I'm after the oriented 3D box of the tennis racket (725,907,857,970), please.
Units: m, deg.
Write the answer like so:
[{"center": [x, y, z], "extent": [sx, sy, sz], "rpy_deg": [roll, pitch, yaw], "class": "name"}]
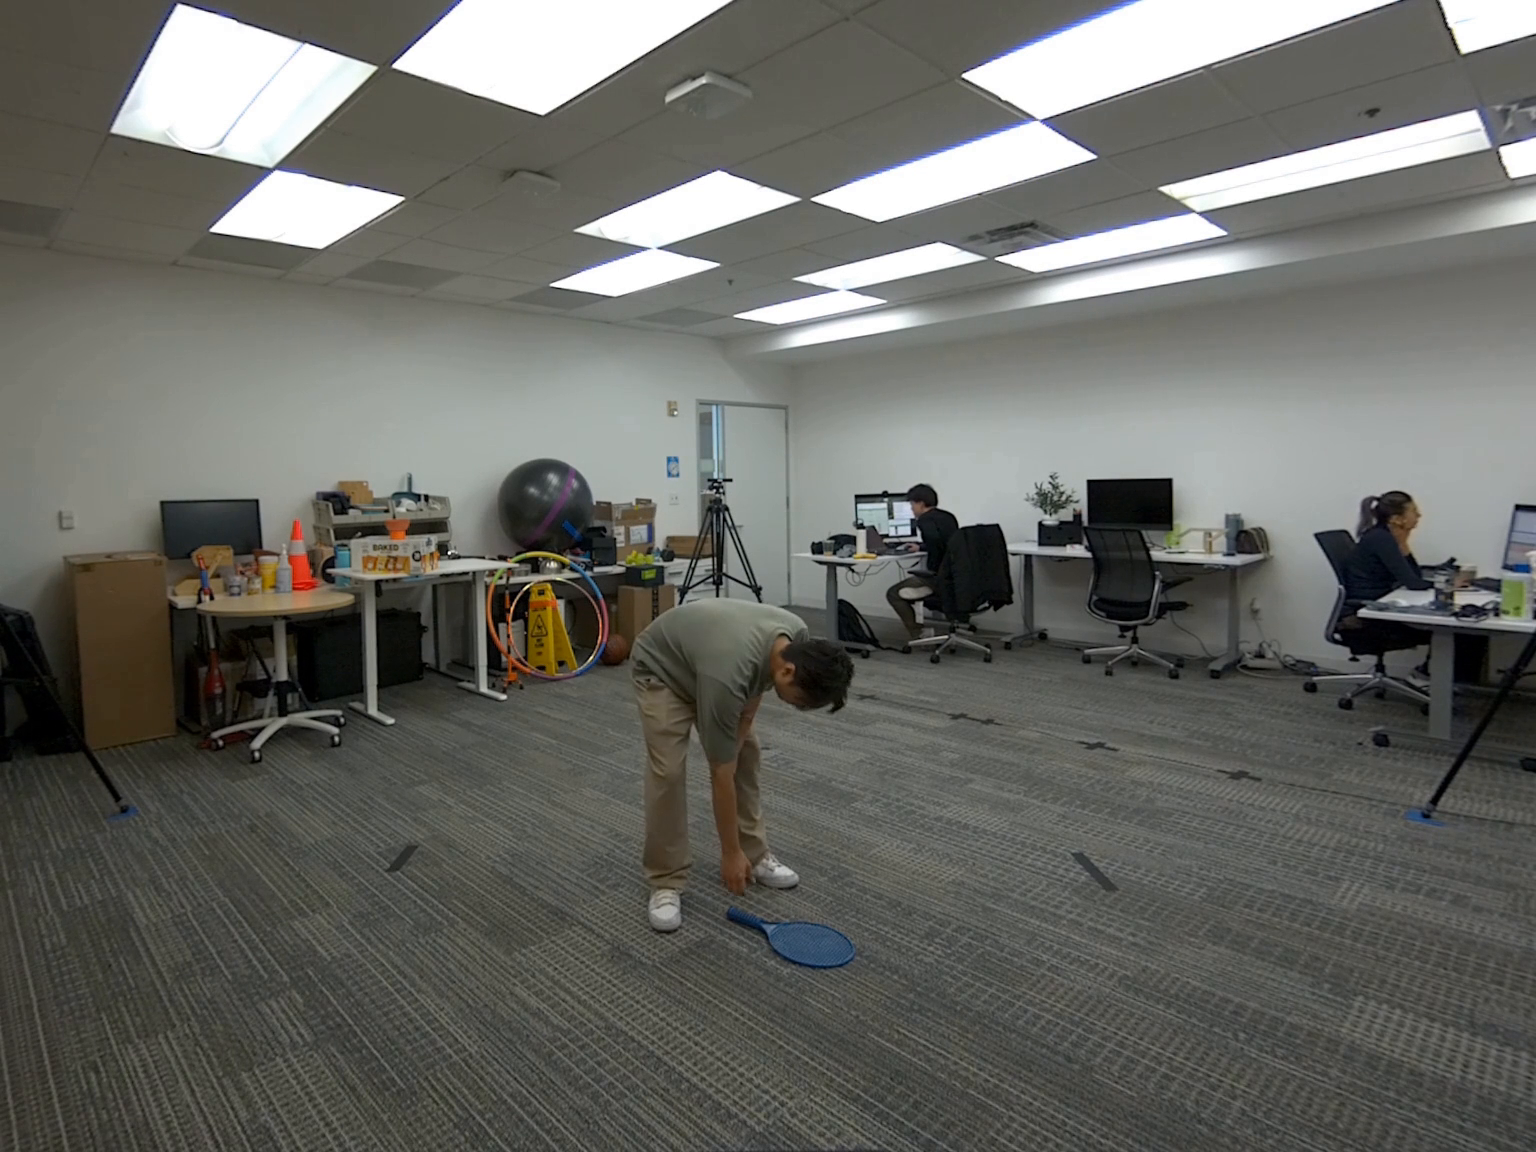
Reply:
[{"center": [0.064, 1.086, 2.600], "extent": [0.445, 0.031, 0.208], "rpy_deg": [5, 8, 34], "class": "tennis racket"}]
